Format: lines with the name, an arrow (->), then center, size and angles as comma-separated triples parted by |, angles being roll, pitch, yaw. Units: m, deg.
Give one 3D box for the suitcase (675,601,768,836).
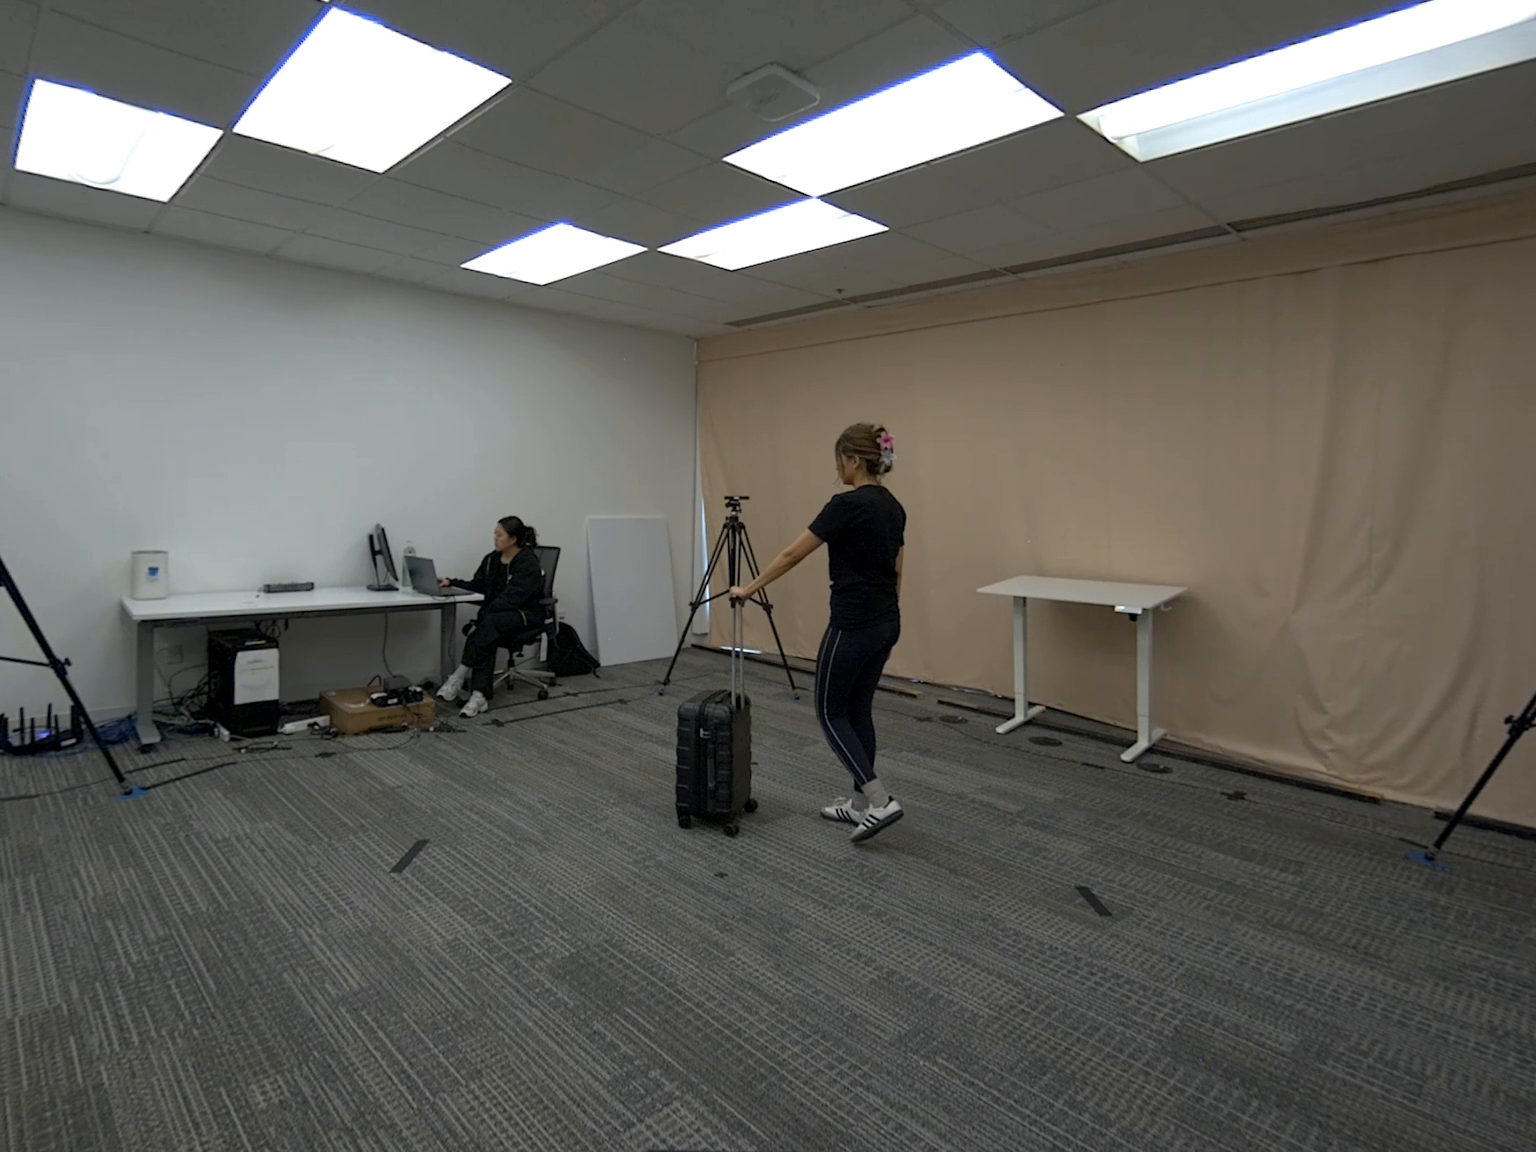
suitcase -> -0.238, 0.578, 3.634 | 0.261, 0.978, 0.379 | -2, 1, 19
